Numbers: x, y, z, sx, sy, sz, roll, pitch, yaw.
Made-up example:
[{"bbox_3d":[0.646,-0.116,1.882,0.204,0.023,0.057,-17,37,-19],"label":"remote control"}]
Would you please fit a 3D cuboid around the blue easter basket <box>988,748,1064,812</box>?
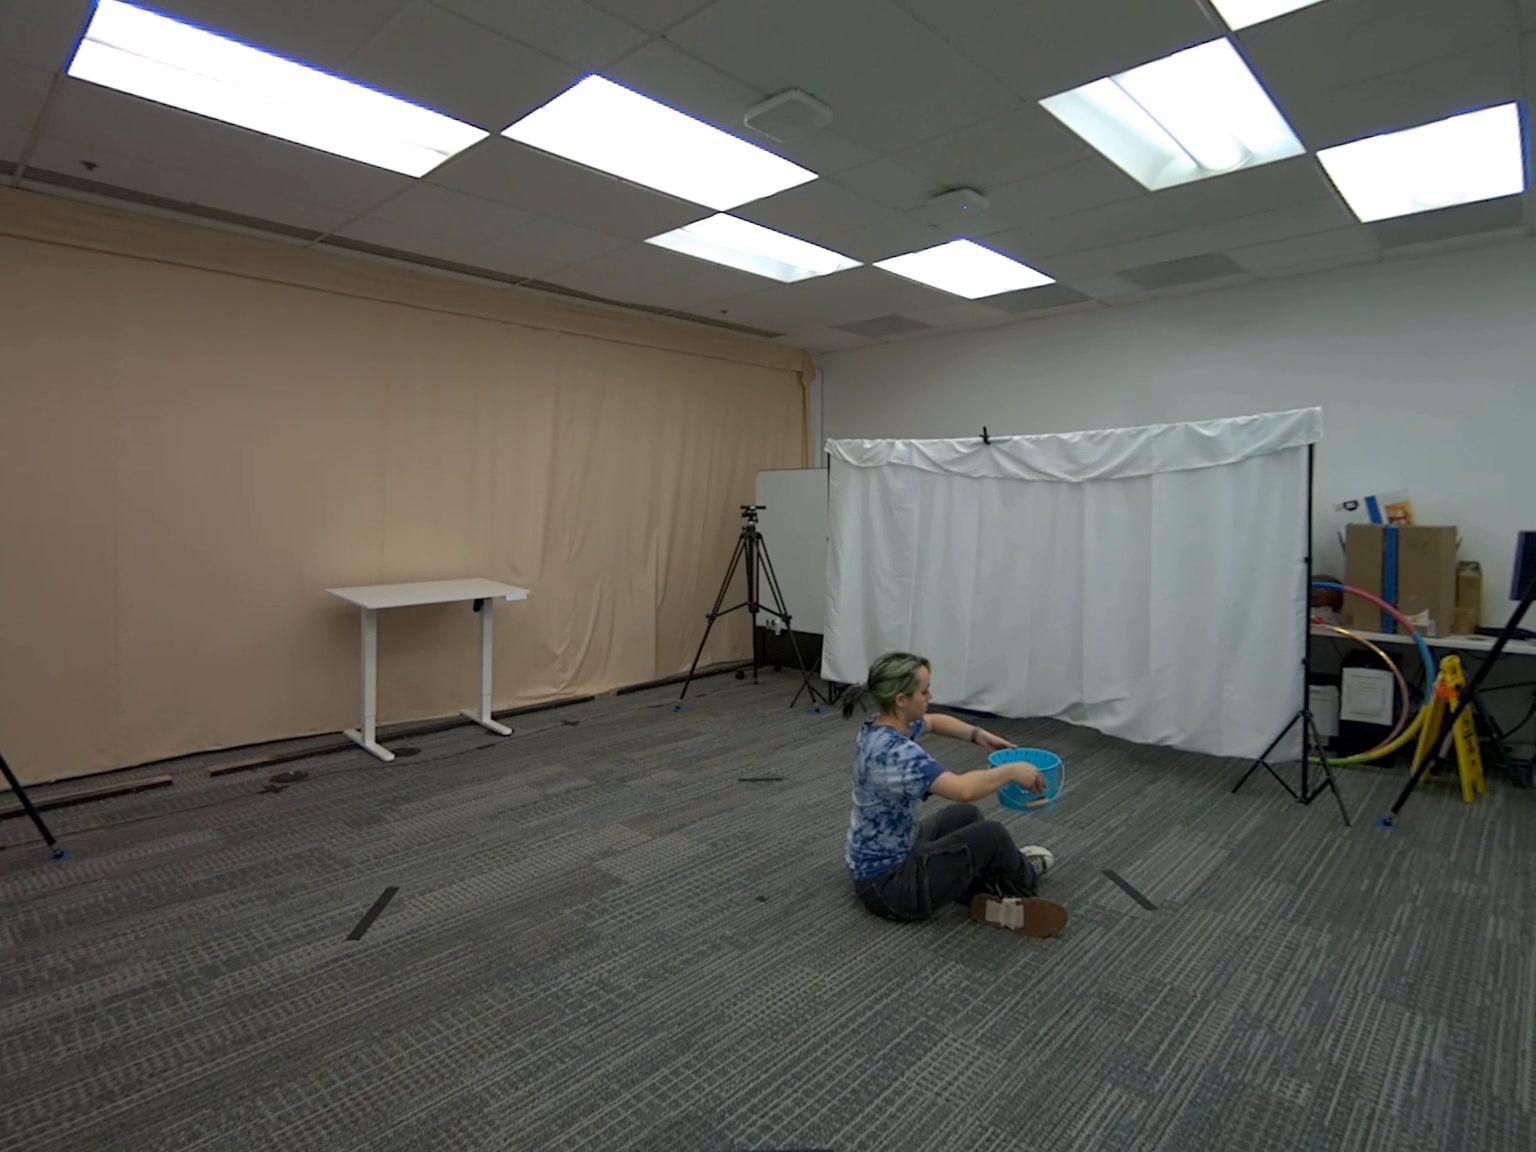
[{"bbox_3d":[0.884,0.702,2.856,0.243,0.155,0.244,-3,3,-2],"label":"blue easter basket"}]
